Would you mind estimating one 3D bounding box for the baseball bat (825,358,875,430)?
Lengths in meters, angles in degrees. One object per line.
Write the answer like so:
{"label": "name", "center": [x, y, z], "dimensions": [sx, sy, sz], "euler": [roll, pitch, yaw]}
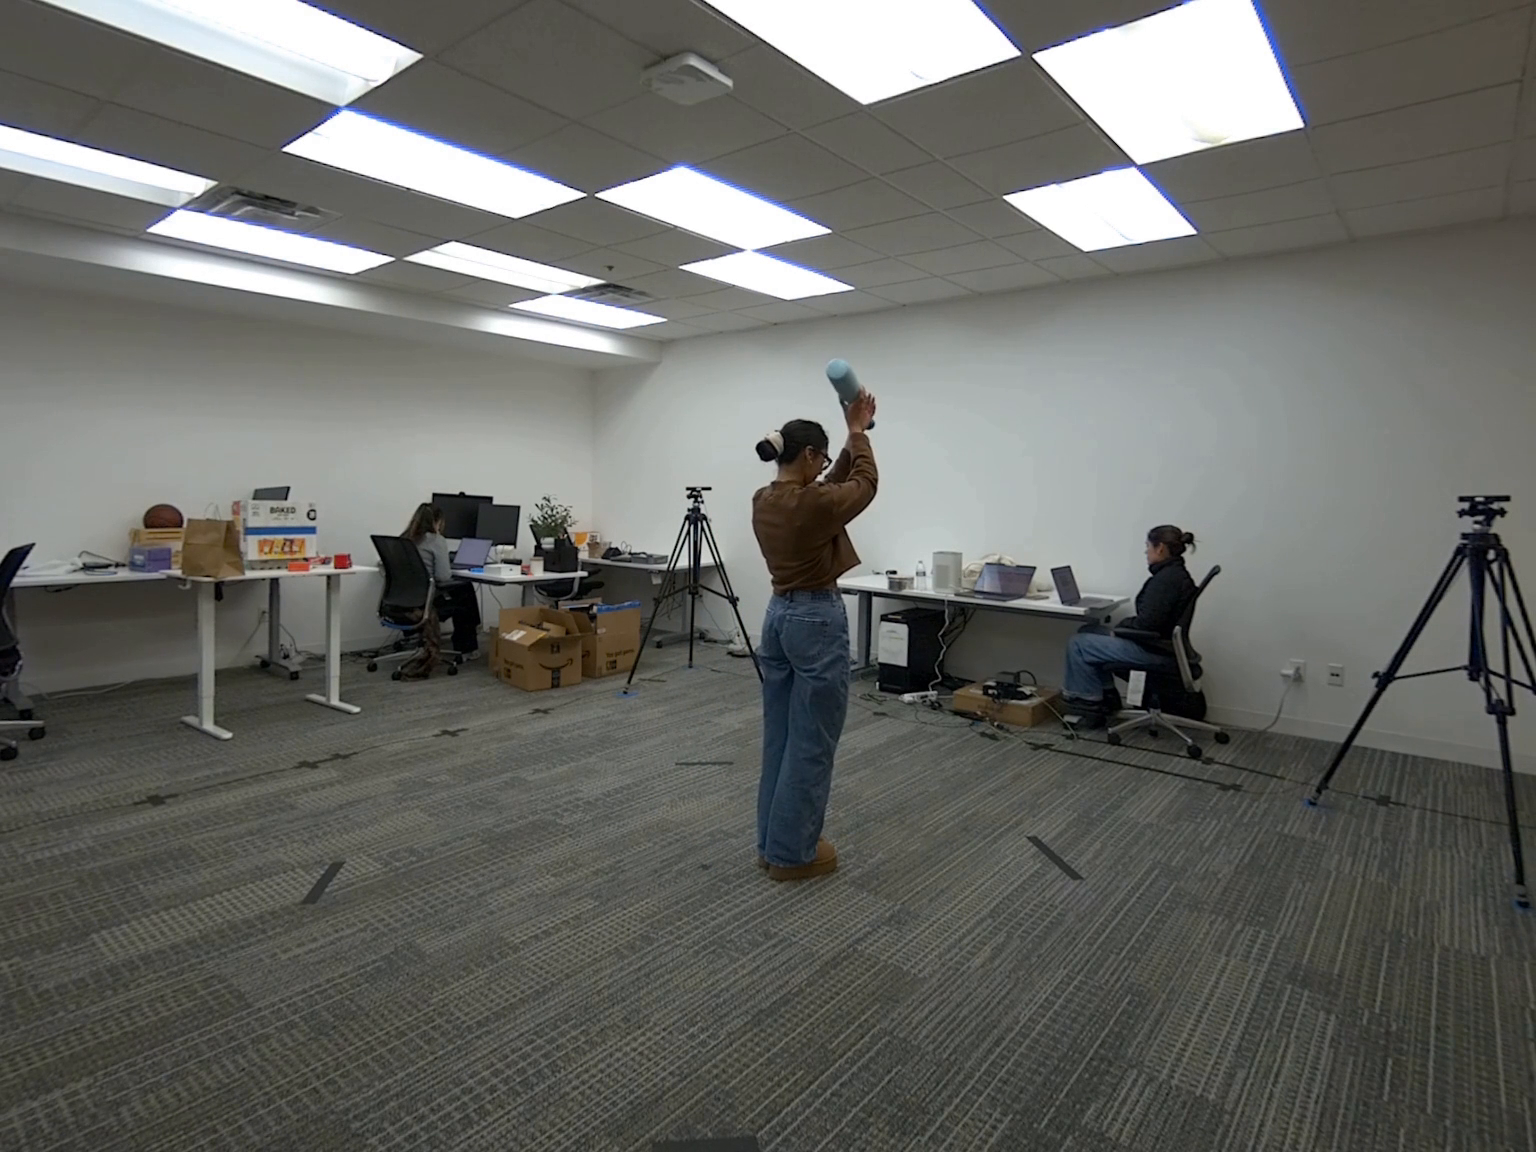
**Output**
{"label": "baseball bat", "center": [0.318, -0.676, 3.236], "dimensions": [0.091, 0.090, 0.526], "euler": [3, -12, 19]}
